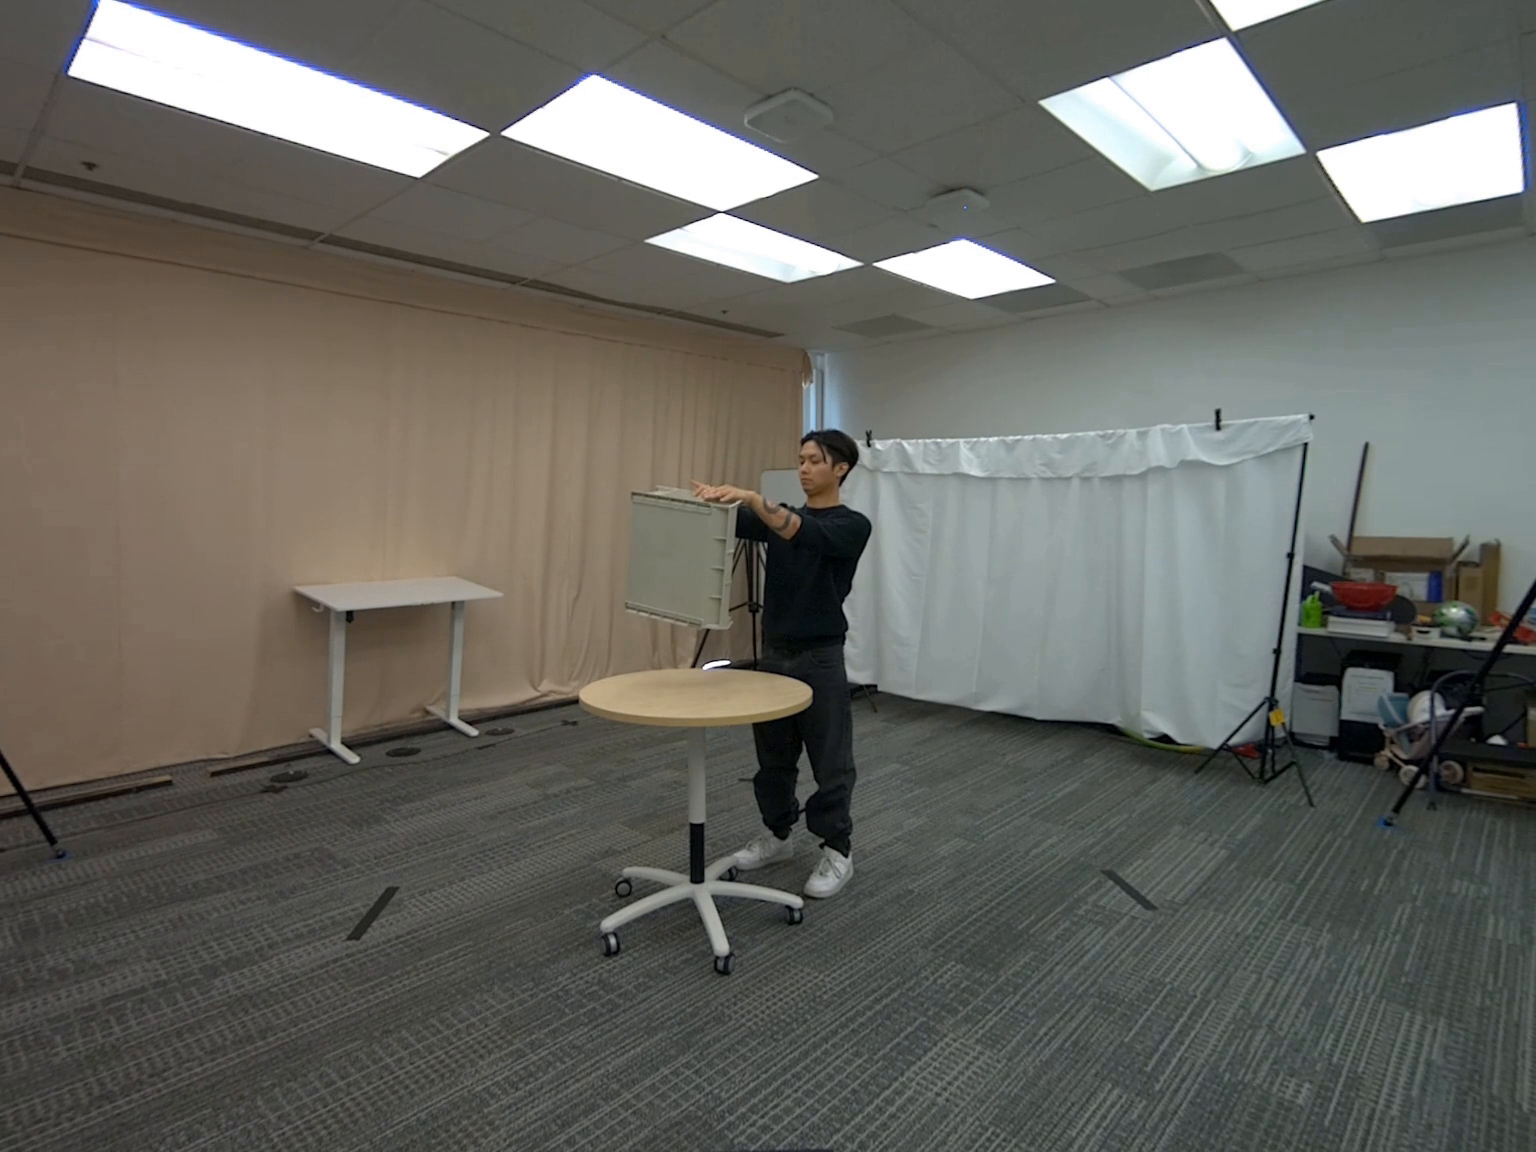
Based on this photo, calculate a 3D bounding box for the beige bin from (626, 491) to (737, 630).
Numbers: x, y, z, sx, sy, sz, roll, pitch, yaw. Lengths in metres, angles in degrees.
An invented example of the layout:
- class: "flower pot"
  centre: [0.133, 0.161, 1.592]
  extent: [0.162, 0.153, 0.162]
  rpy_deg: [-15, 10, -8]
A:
- class: "beige bin"
  centre: [-0.276, -0.064, 2.819]
  extent: [0.389, 0.419, 0.184]
  rpy_deg: [12, 14, 29]
